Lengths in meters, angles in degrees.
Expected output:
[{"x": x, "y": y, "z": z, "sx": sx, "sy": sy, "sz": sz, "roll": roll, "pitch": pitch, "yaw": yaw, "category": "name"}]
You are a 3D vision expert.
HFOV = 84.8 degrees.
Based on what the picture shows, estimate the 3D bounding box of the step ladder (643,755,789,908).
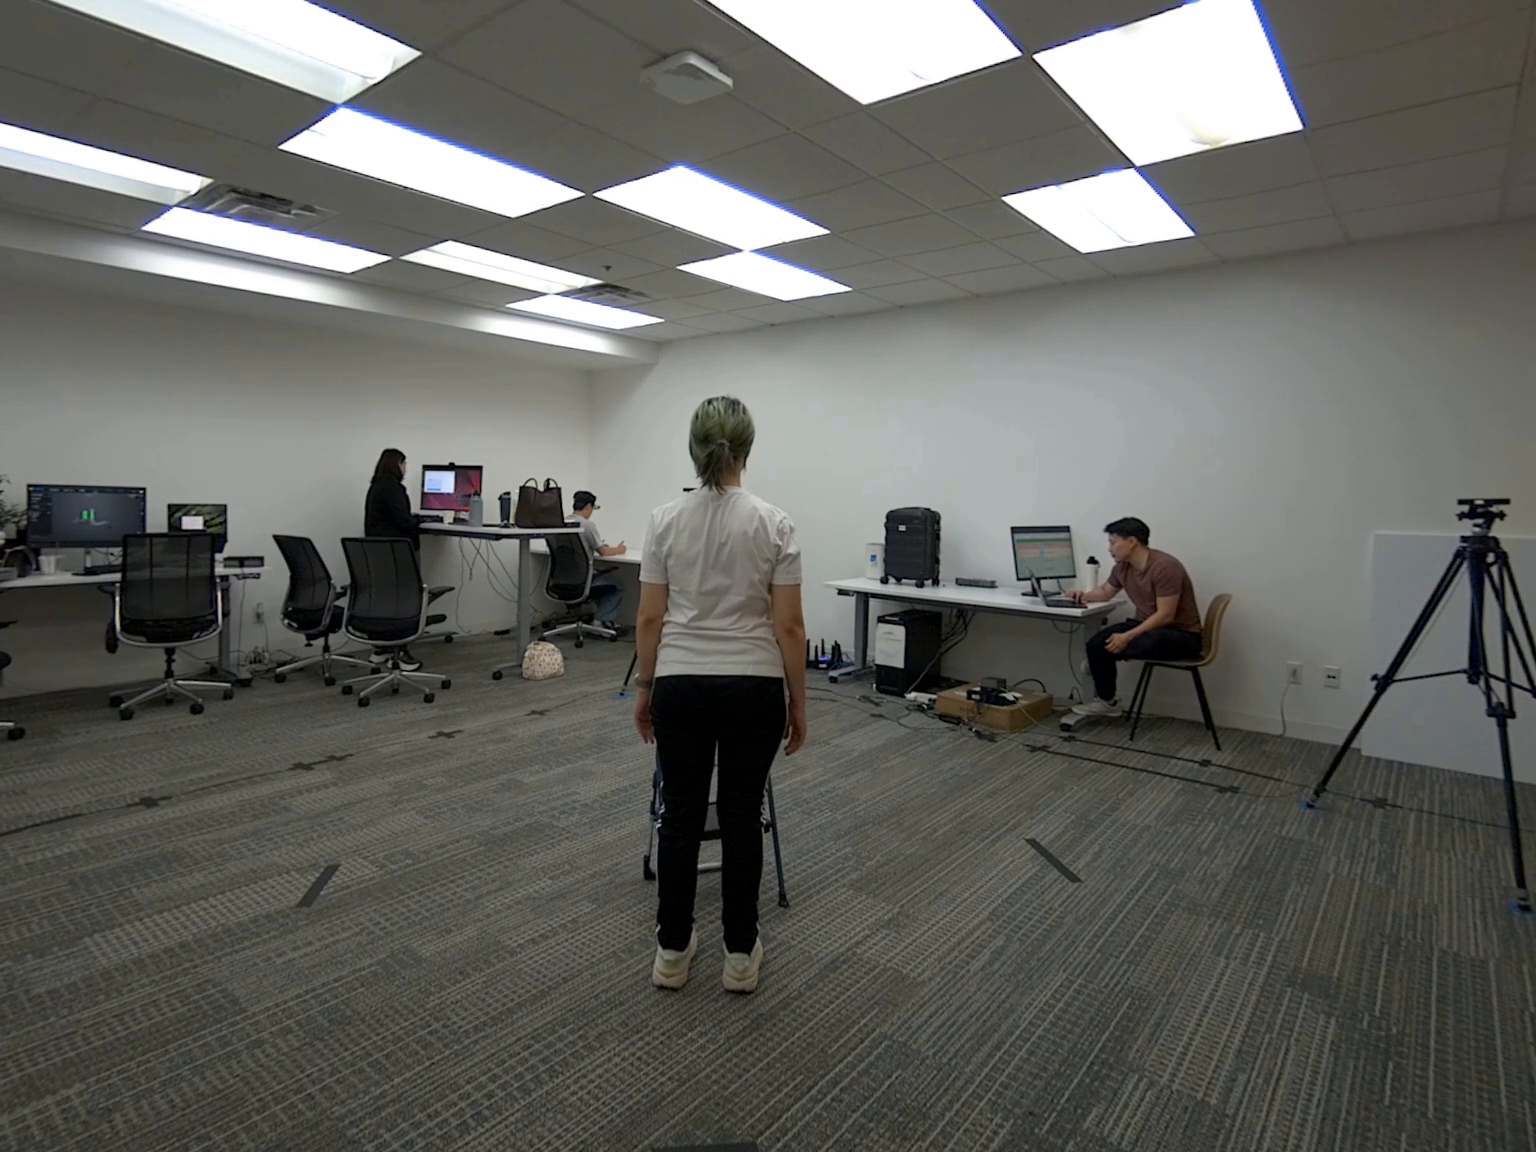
[{"x": -0.190, "y": 0.786, "z": 2.920, "sx": 0.421, "sy": 0.604, "sz": 0.358, "roll": 1, "pitch": 3, "yaw": -22, "category": "step ladder"}]
